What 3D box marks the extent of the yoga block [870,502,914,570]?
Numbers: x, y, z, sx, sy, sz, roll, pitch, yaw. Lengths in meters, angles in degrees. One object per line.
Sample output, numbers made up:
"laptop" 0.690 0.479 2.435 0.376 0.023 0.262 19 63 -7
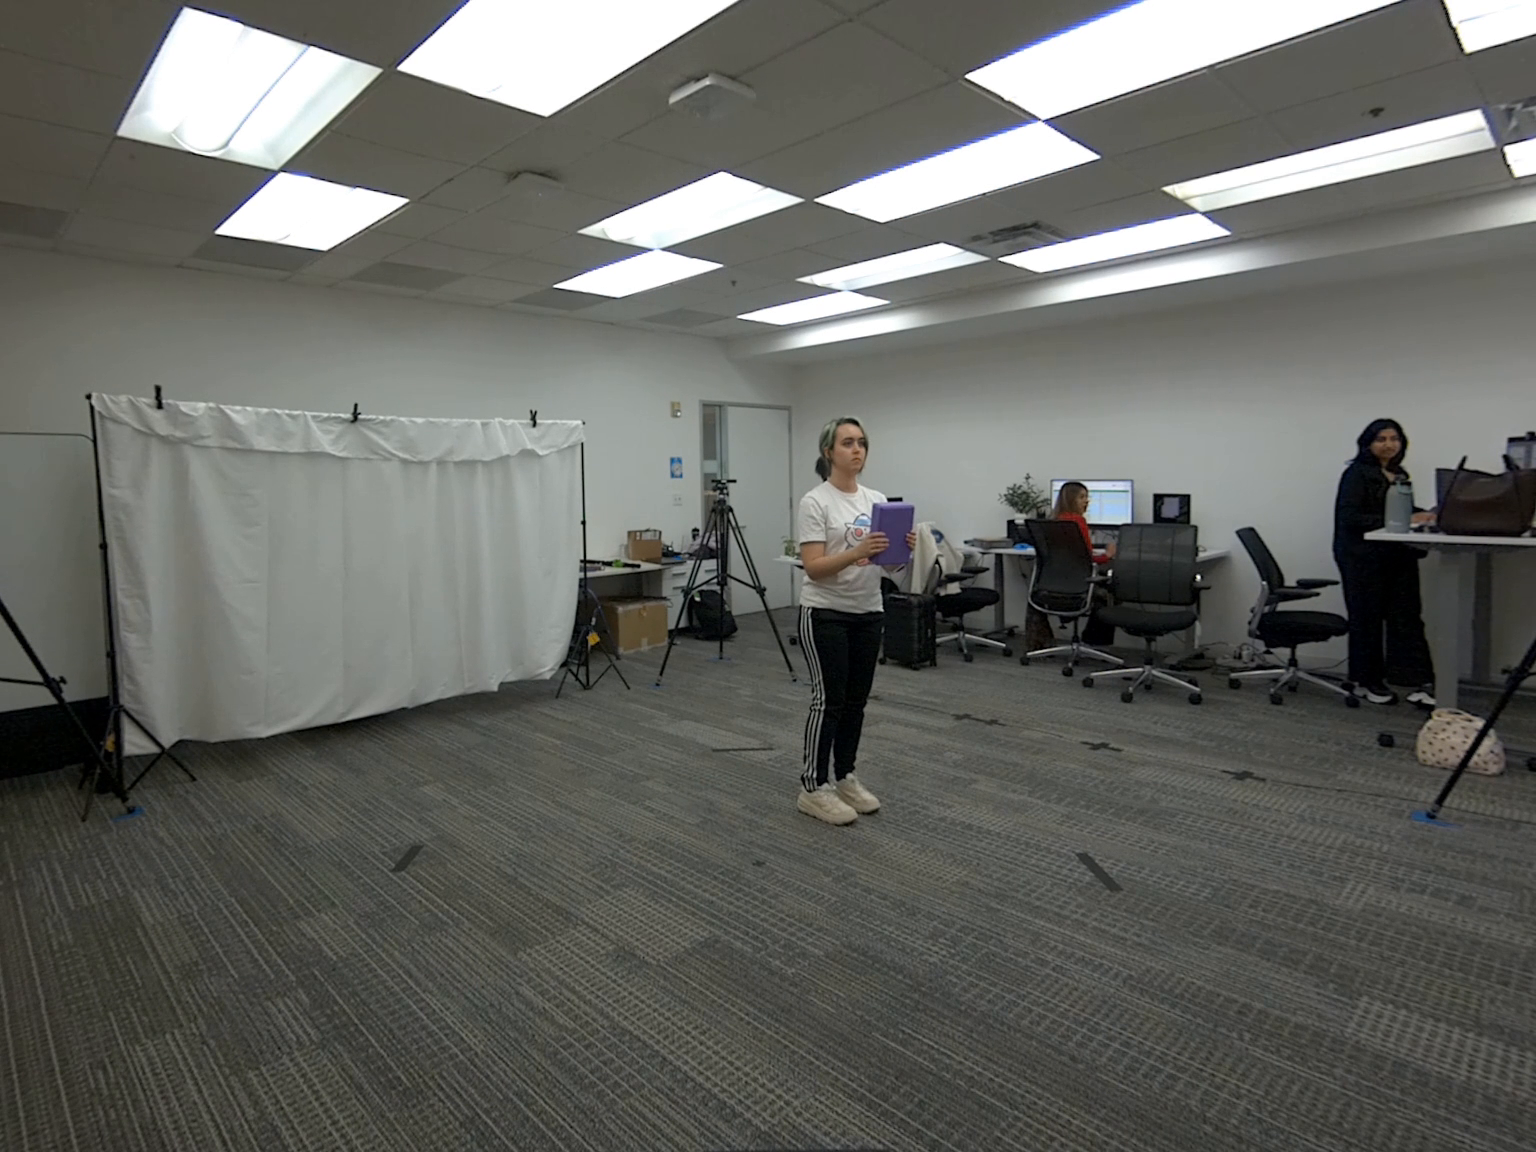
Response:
"yoga block" 0.479 -0.162 3.246 0.147 0.226 0.078 -1 19 -13
